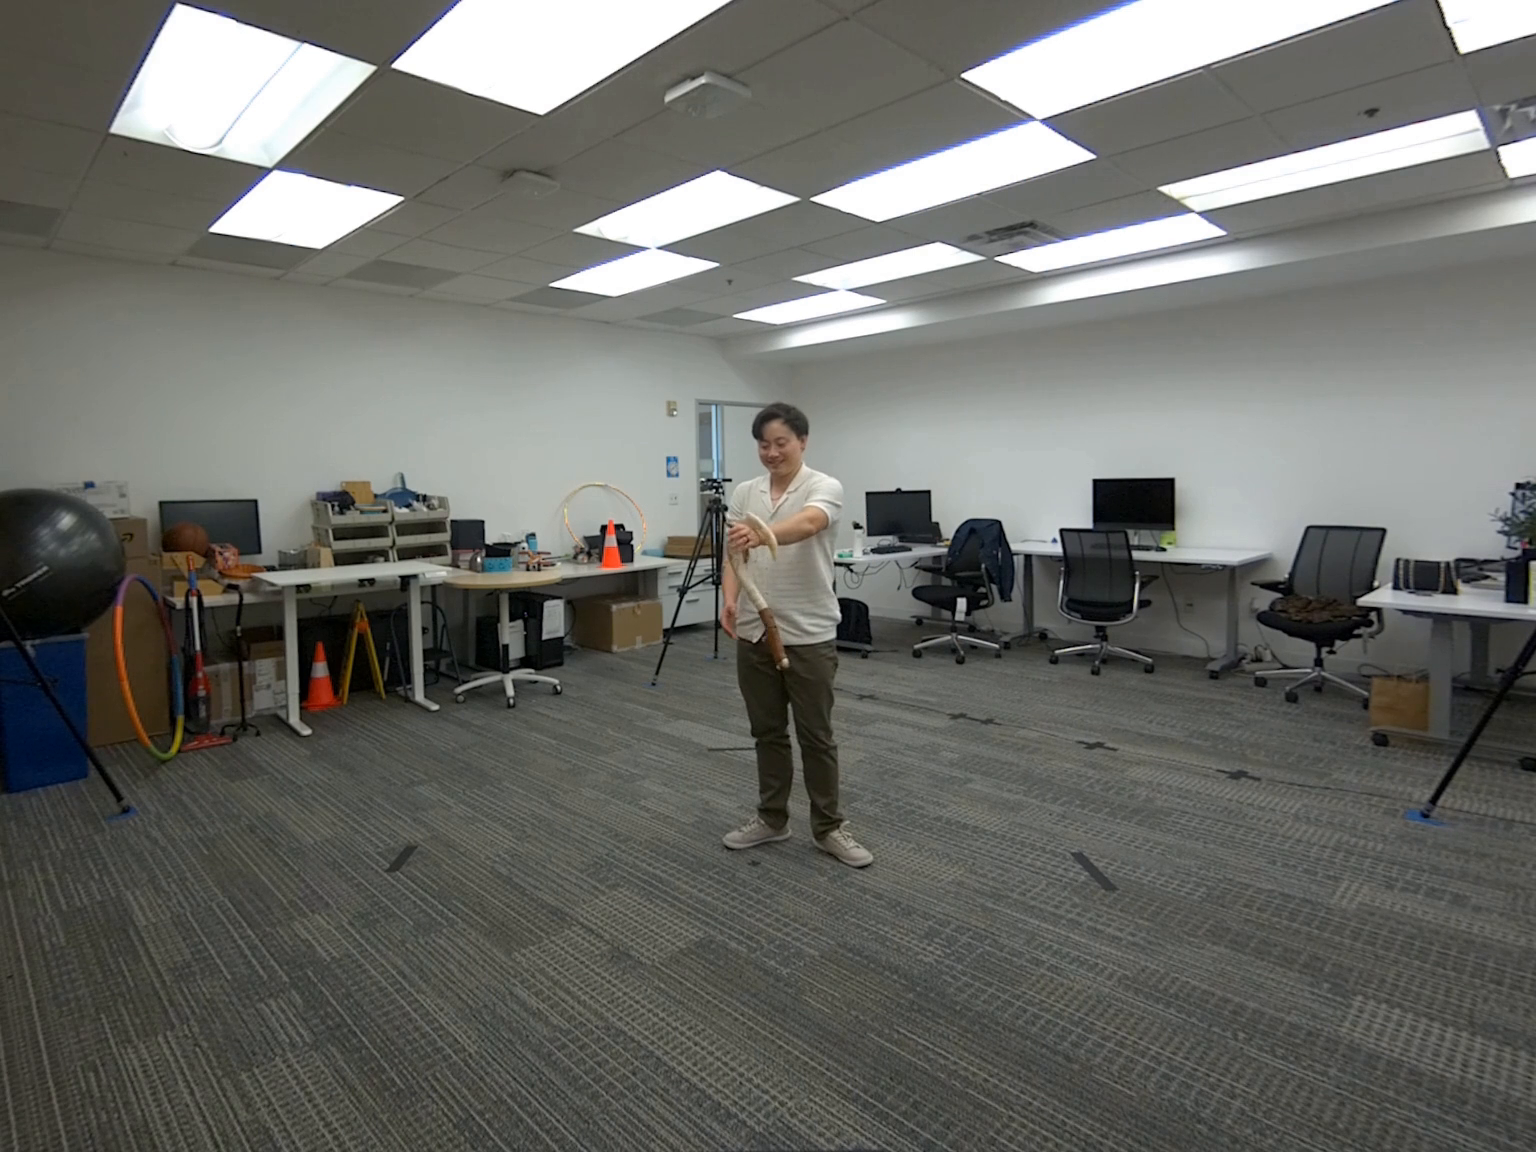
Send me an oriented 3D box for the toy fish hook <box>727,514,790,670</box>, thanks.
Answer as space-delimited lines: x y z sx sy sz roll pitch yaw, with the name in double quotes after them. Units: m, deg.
-0.010 0.040 2.711 0.047 0.517 0.225 -6 -22 -38 "toy fish hook"
